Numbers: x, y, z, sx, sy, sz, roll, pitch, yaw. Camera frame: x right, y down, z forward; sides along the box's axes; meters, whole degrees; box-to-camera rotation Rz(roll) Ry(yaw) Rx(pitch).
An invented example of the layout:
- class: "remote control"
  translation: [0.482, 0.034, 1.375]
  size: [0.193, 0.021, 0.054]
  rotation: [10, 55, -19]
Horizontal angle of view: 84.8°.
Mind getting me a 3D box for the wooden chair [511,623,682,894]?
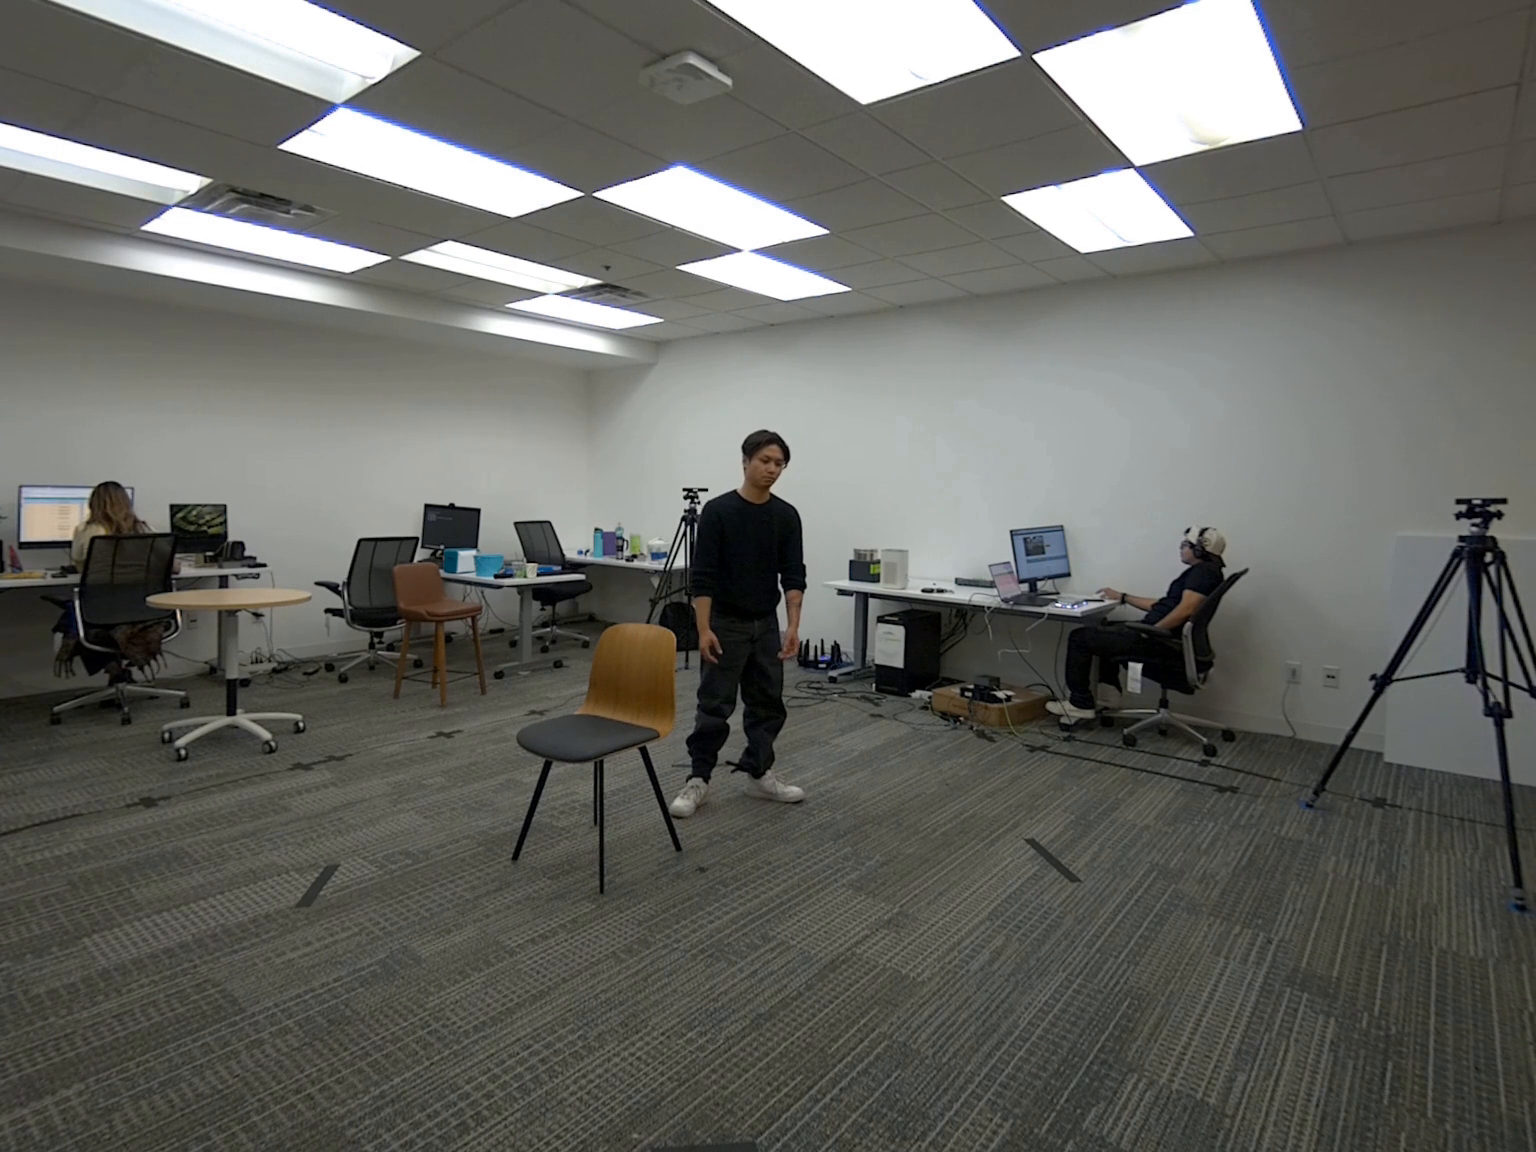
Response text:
- class: "wooden chair"
  translation: [-0.643, 0.626, 3.174]
  size: [0.493, 0.878, 0.507]
  rotation: [3, -1, 33]
